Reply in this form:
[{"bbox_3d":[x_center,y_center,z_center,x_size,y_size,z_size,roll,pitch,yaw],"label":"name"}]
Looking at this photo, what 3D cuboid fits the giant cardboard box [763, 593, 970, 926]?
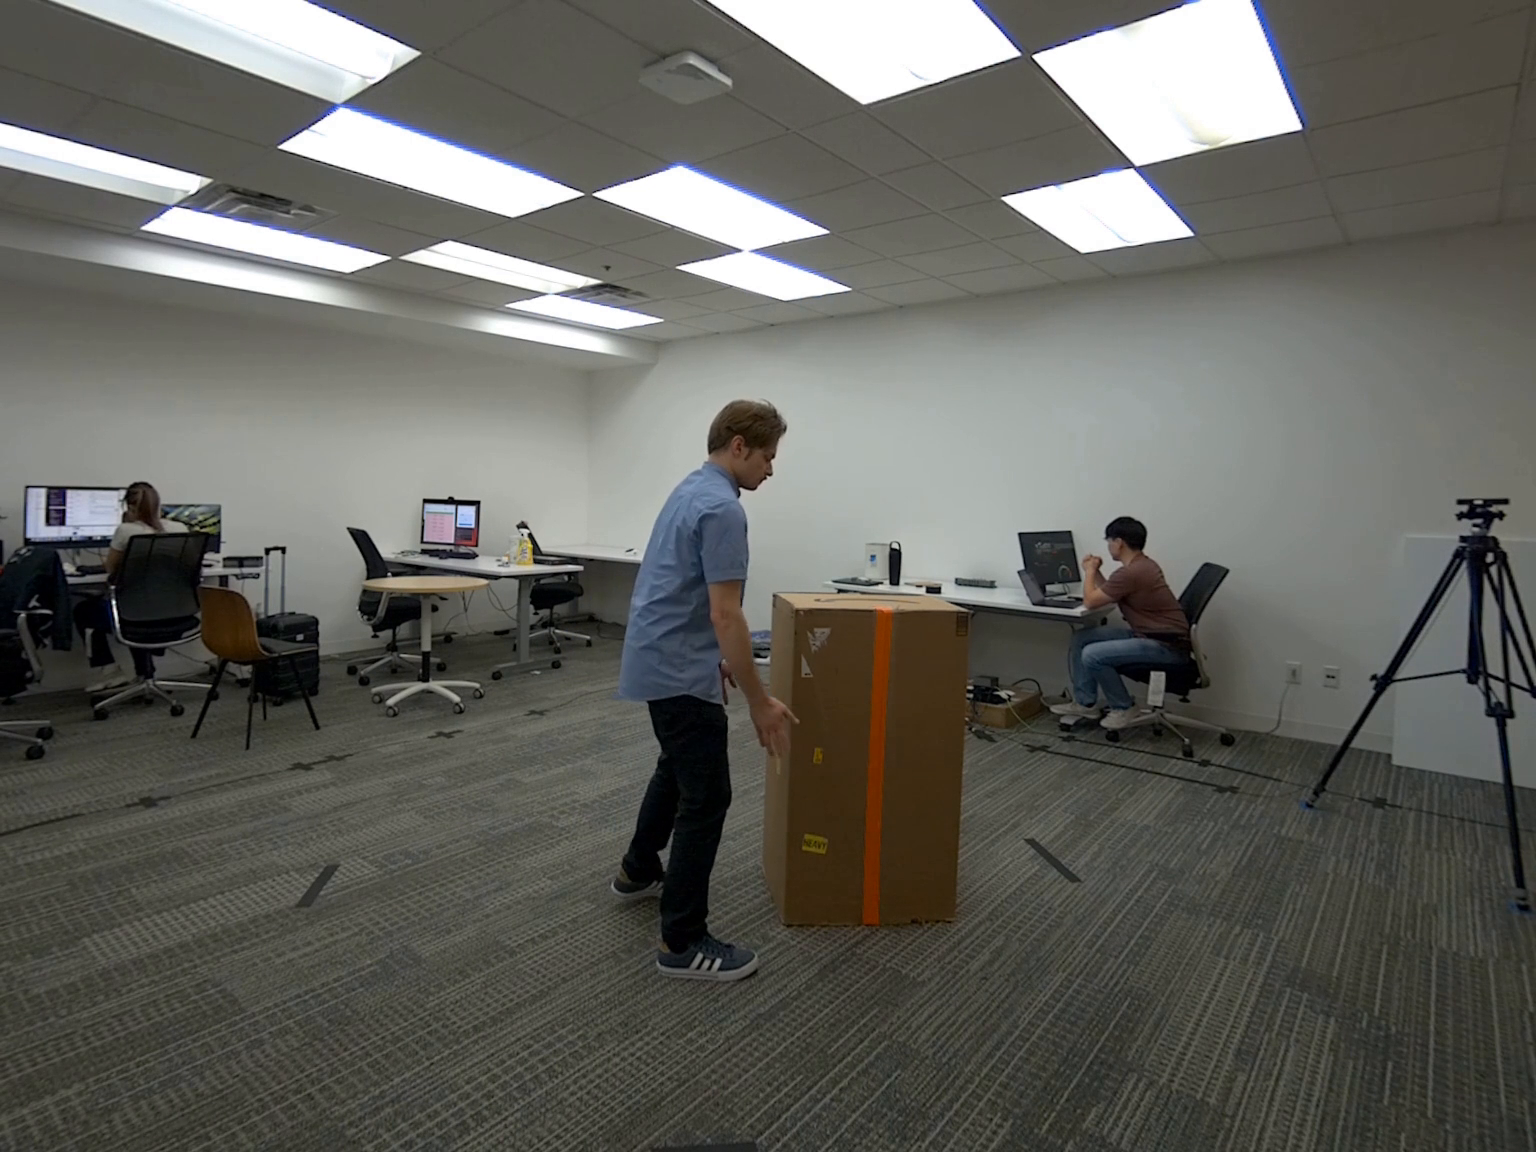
[{"bbox_3d":[0.311,0.592,2.919,0.574,1.023,0.430,2,3,-7],"label":"giant cardboard box"}]
